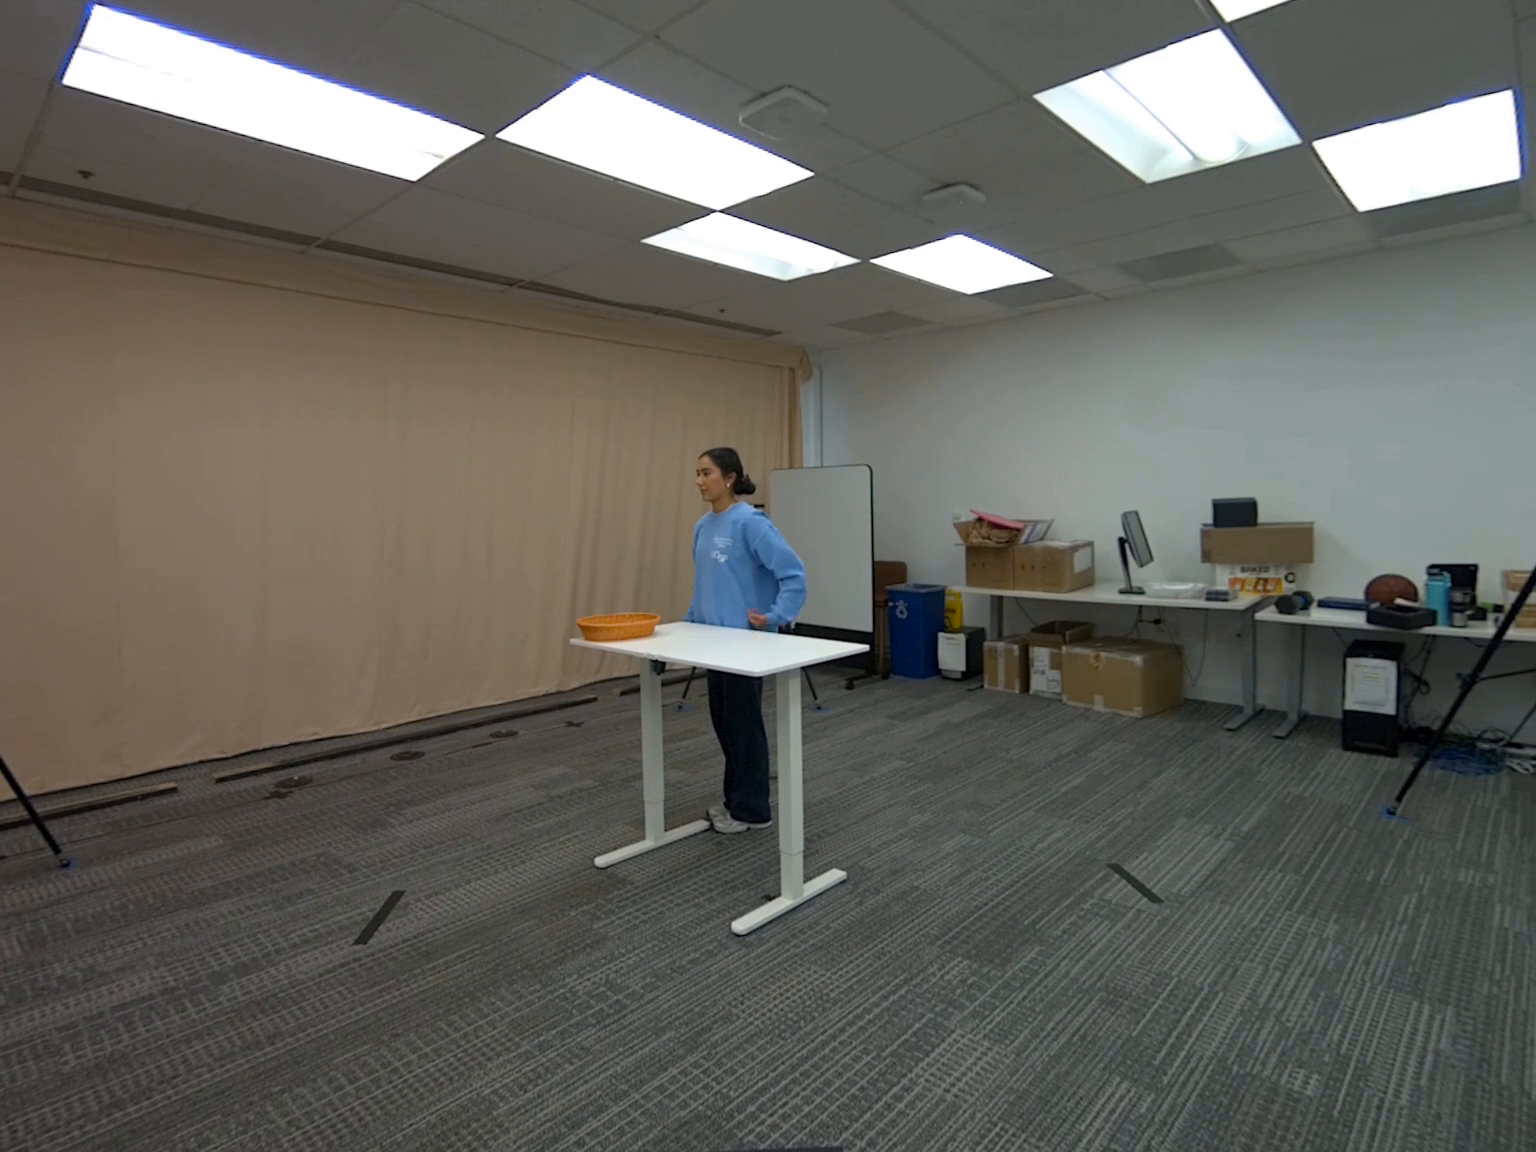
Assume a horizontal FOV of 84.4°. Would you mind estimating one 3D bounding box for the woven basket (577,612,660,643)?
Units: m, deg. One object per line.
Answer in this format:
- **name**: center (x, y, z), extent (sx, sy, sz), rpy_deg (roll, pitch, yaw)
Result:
- **woven basket**: center (-0.592, 0.210, 3.339), extent (0.340, 0.073, 0.260), rpy_deg (-5, 7, -36)
